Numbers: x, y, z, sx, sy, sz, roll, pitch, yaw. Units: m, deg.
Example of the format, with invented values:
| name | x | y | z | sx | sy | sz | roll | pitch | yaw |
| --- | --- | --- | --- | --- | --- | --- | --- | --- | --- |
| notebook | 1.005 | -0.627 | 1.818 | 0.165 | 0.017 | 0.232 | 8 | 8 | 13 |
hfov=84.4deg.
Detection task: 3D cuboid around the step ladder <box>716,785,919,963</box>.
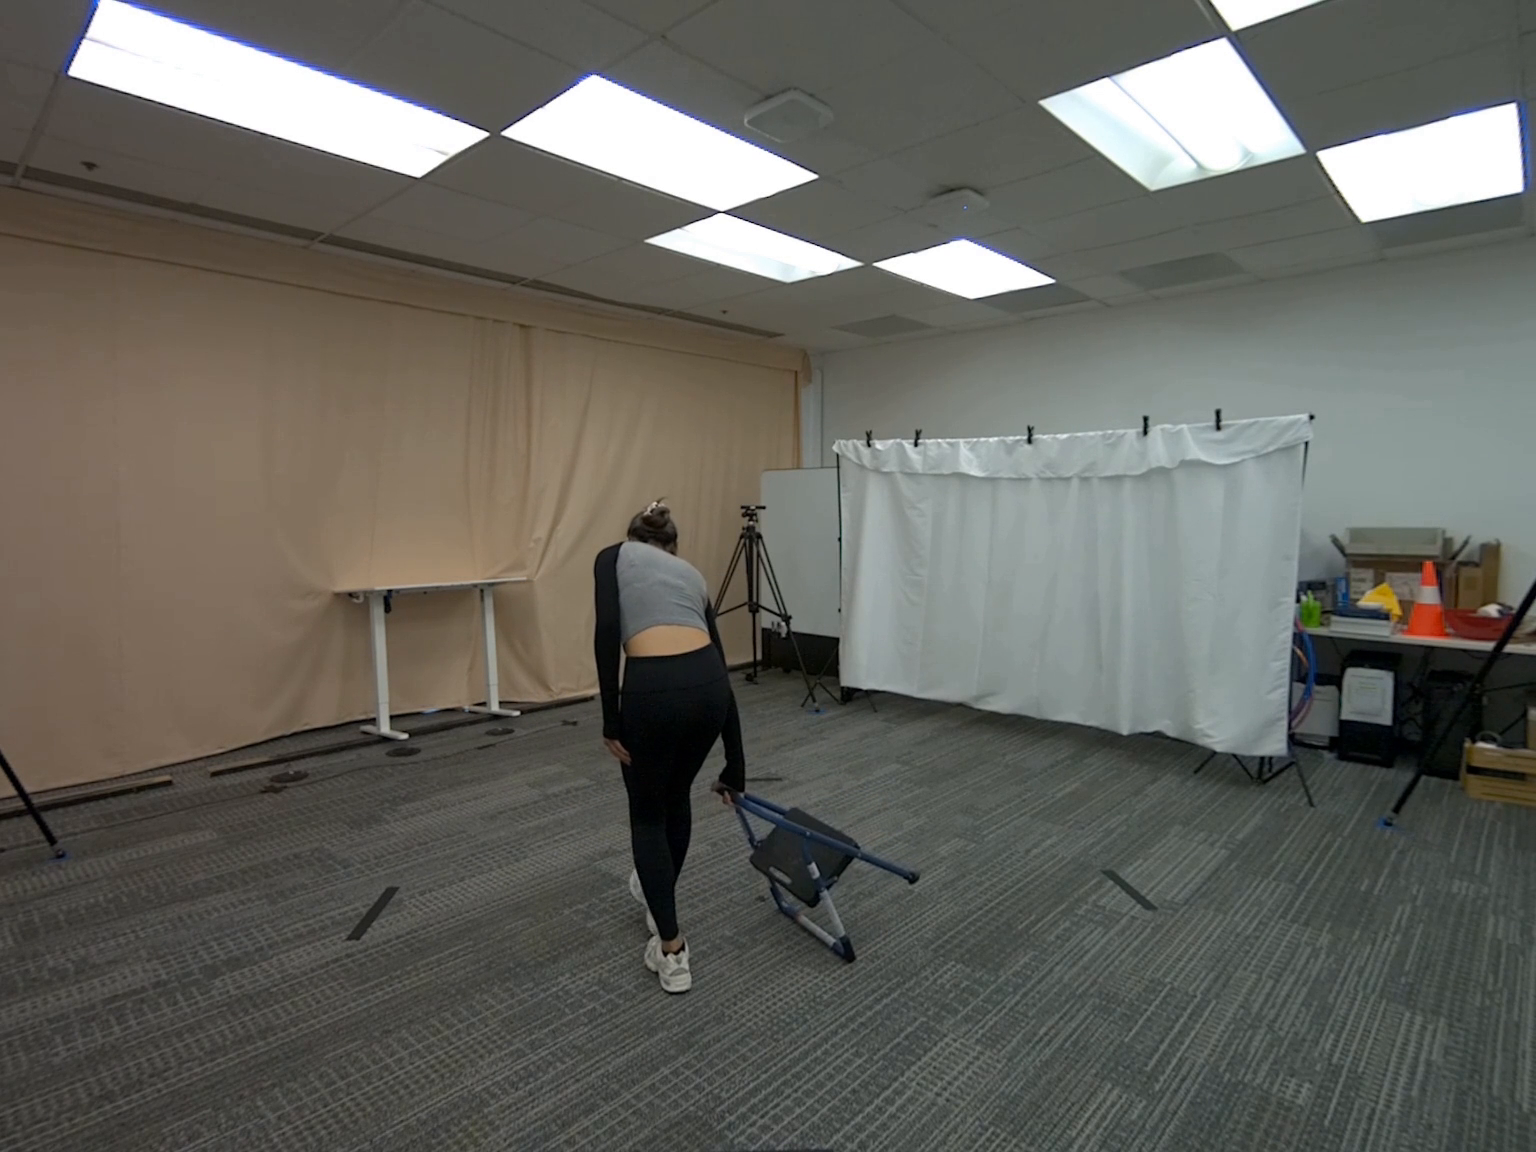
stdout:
| name | x | y | z | sx | sy | sz | roll | pitch | yaw |
| --- | --- | --- | --- | --- | --- | --- | --- | --- | --- |
| step ladder | 0.098 | 0.836 | 2.691 | 0.347 | 0.592 | 0.443 | -45 | 24 | -21 |
